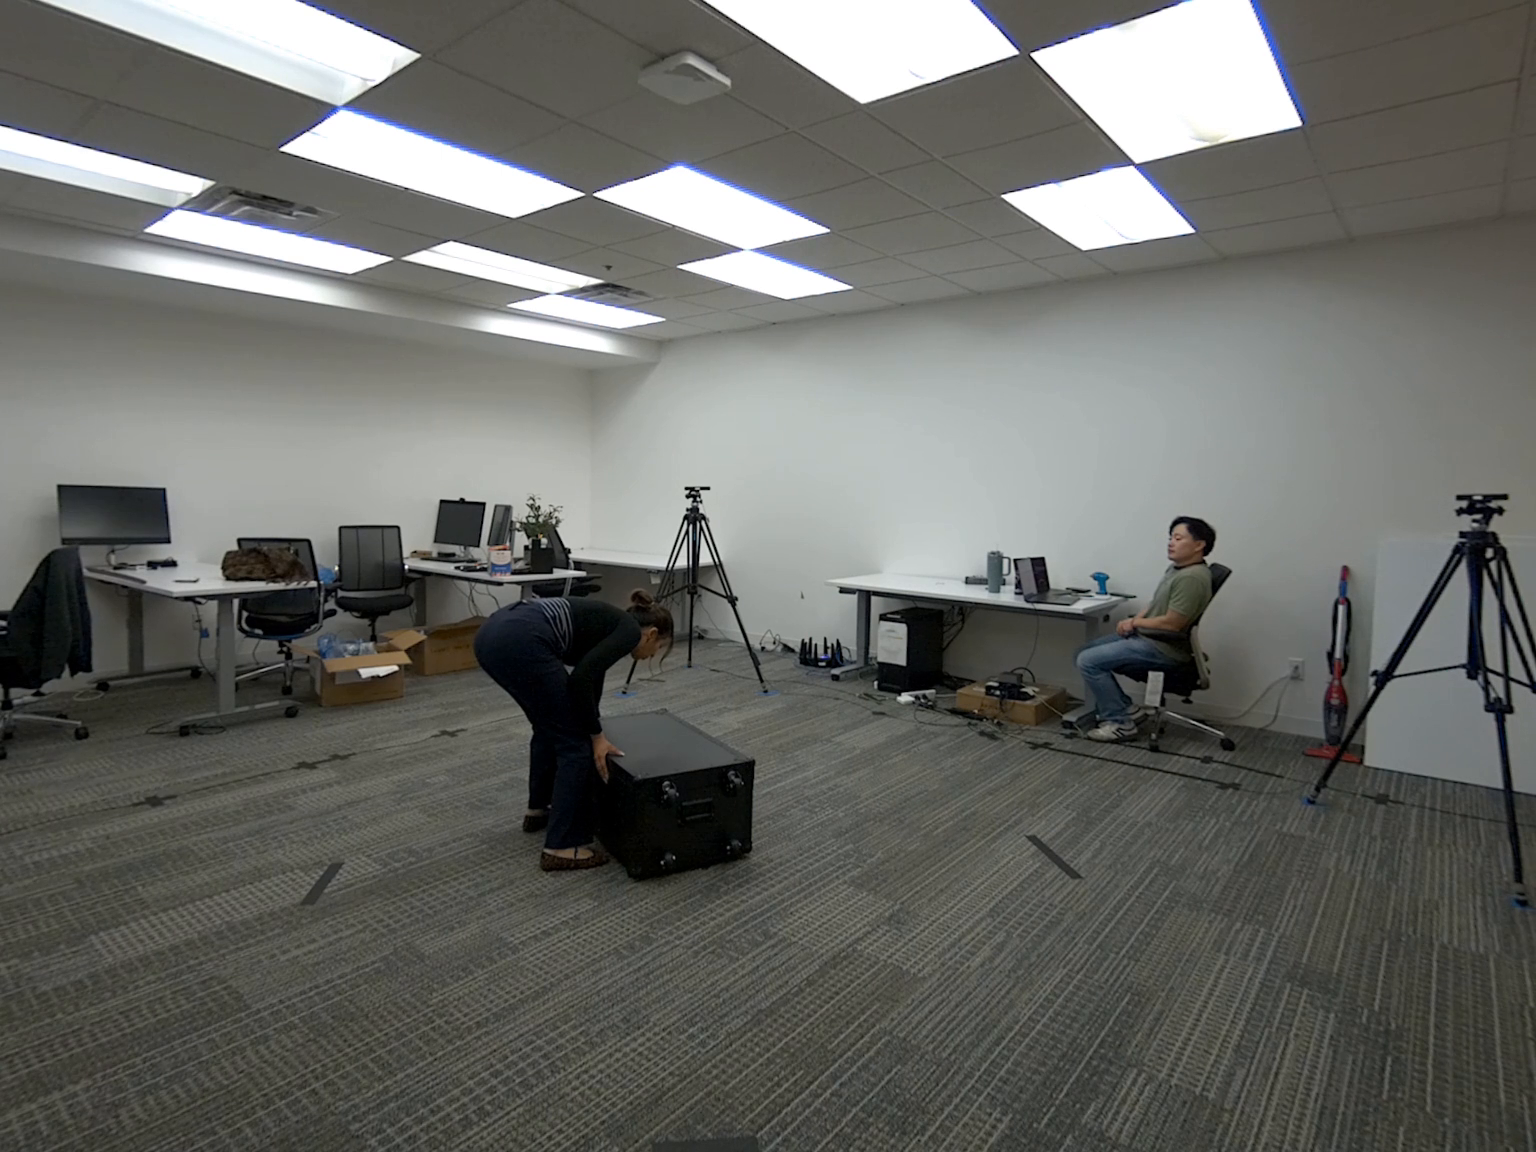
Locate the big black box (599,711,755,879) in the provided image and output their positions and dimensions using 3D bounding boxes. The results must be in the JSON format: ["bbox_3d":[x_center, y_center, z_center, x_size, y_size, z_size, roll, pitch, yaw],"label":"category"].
[{"bbox_3d":[-0.486,0.839,3.431,0.507,0.395,0.888,-2,6,-31],"label":"big black box"}]
